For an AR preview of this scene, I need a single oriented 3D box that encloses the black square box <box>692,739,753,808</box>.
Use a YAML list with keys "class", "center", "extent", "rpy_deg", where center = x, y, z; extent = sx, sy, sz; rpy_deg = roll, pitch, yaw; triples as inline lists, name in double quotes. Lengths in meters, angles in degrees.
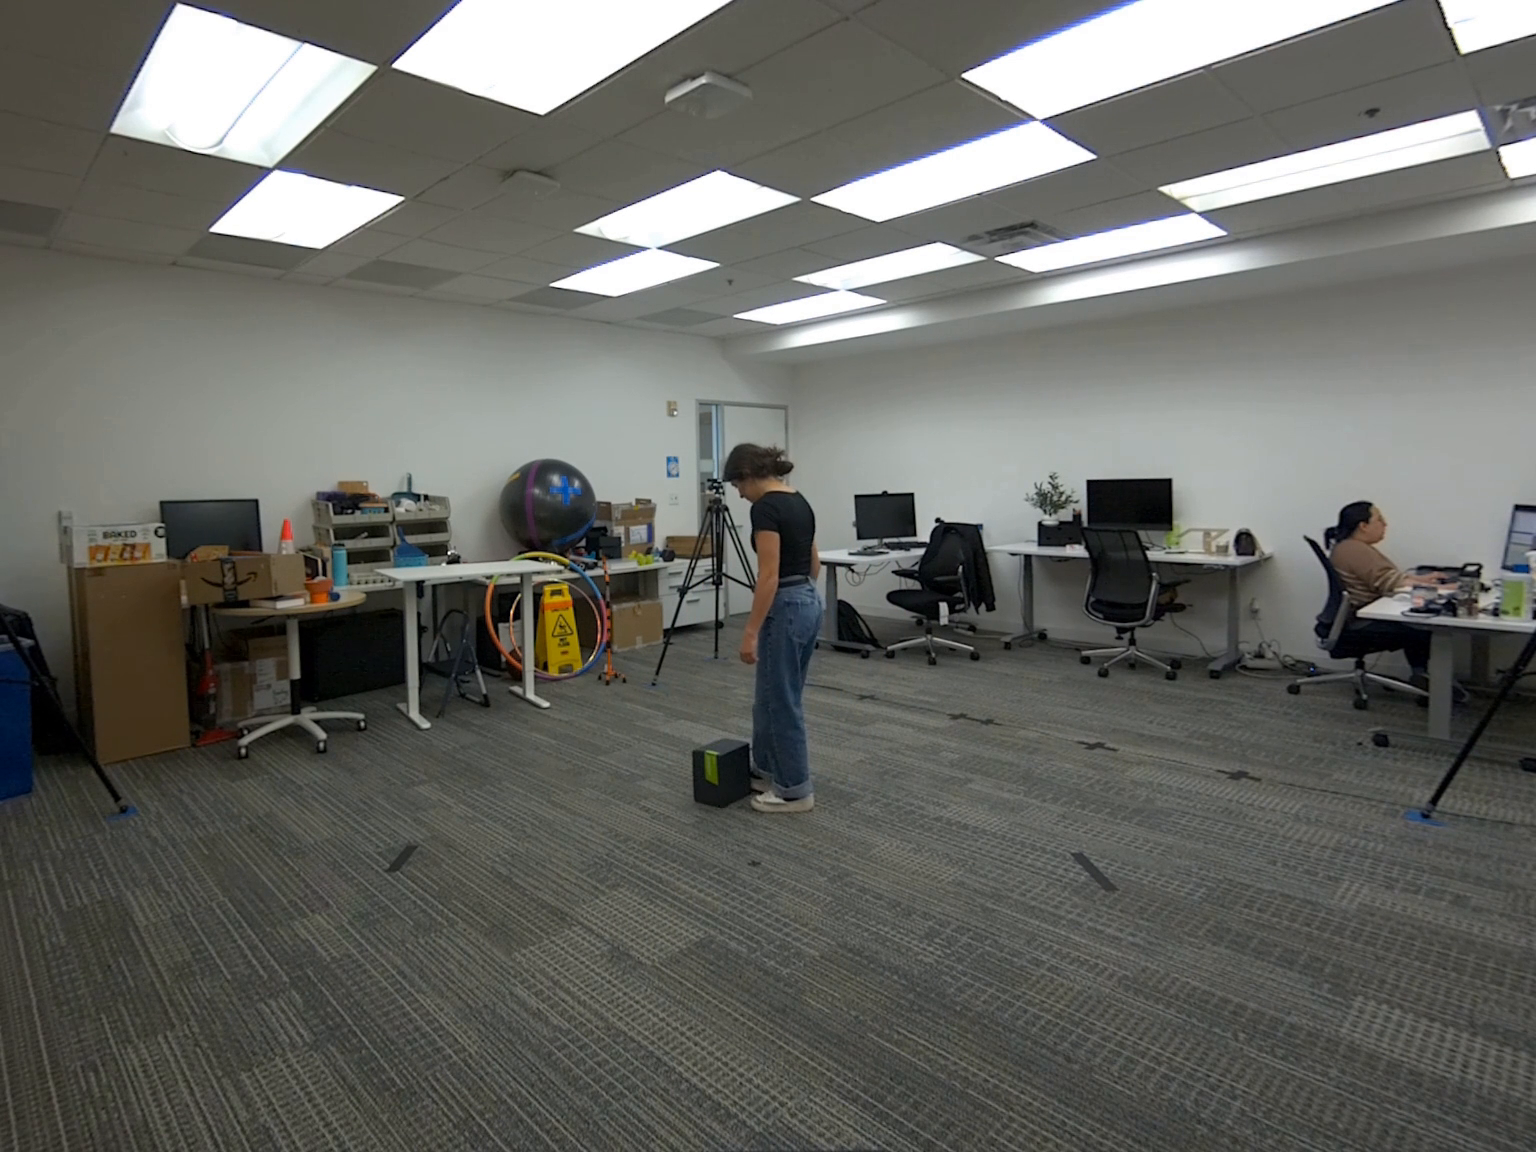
- class: "black square box"
  center: [-0.203, 0.857, 3.747]
  extent: [0.160, 0.227, 0.212]
  rpy_deg: [1, 5, 37]
